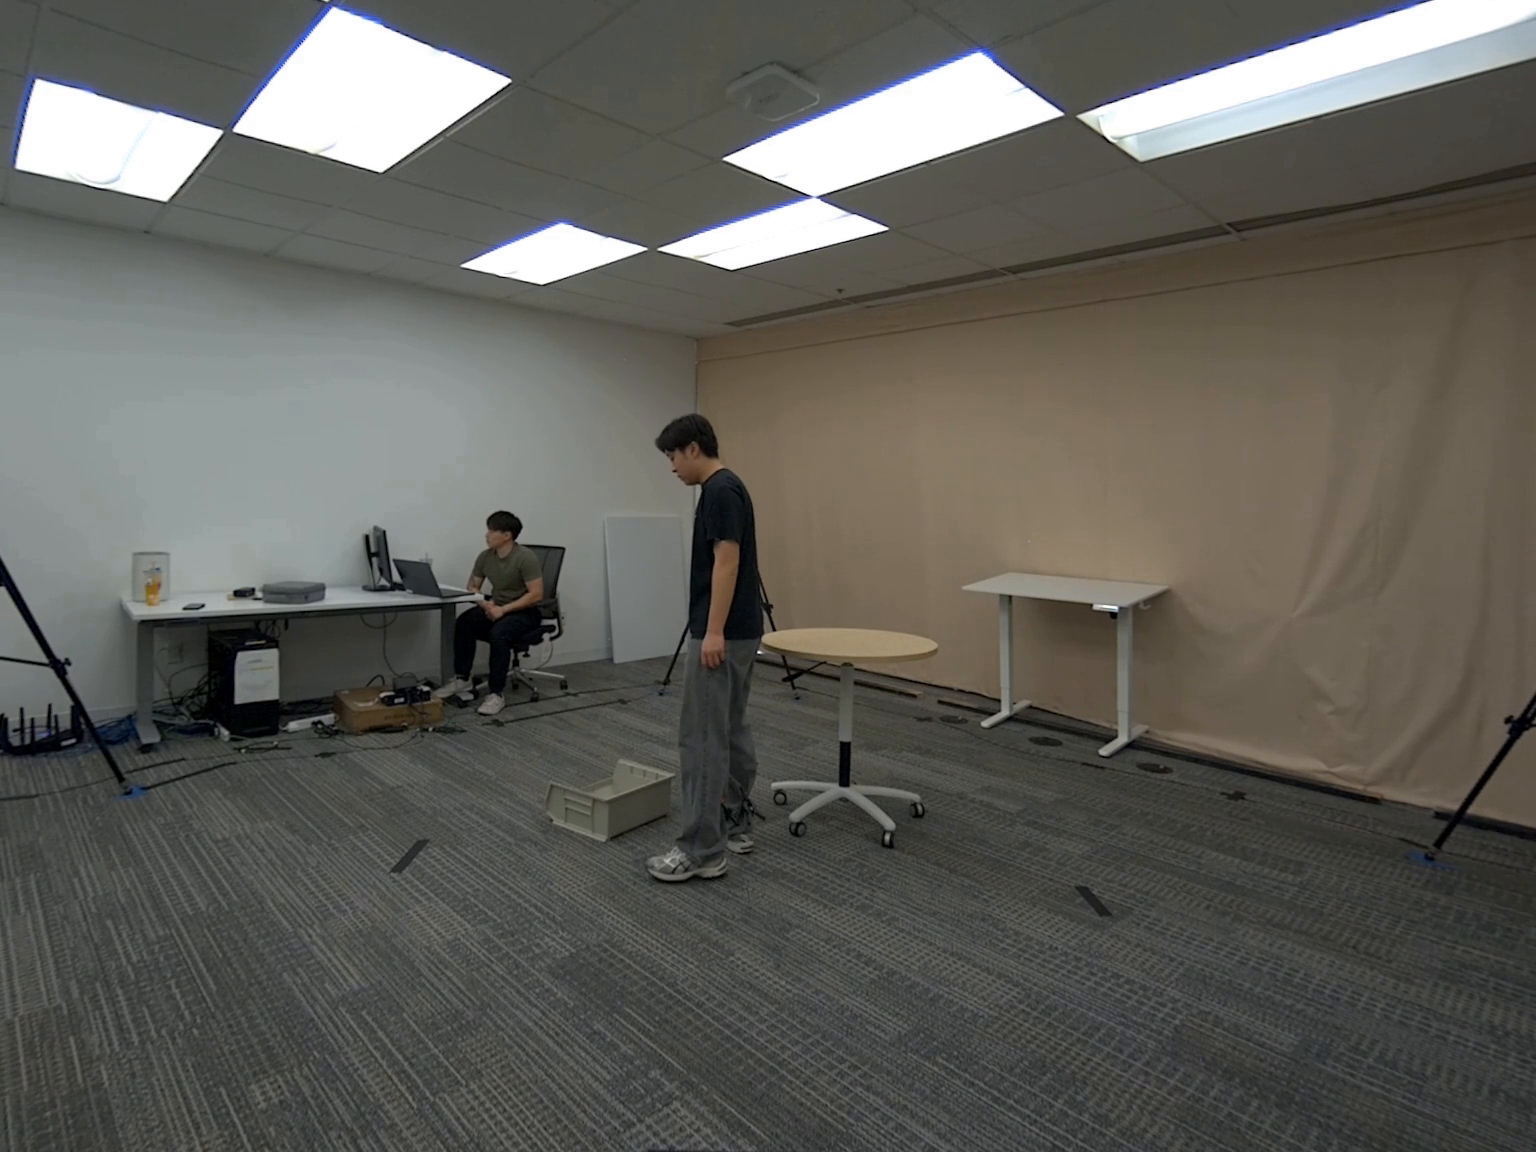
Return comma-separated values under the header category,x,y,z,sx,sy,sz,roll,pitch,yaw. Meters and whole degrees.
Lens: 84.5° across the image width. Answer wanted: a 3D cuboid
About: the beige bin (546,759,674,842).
category,x,y,z,sx,sy,sz,roll,pitch,yaw
beige bin,-0.682,0.953,3.632,0.386,0.188,0.413,6,6,35
